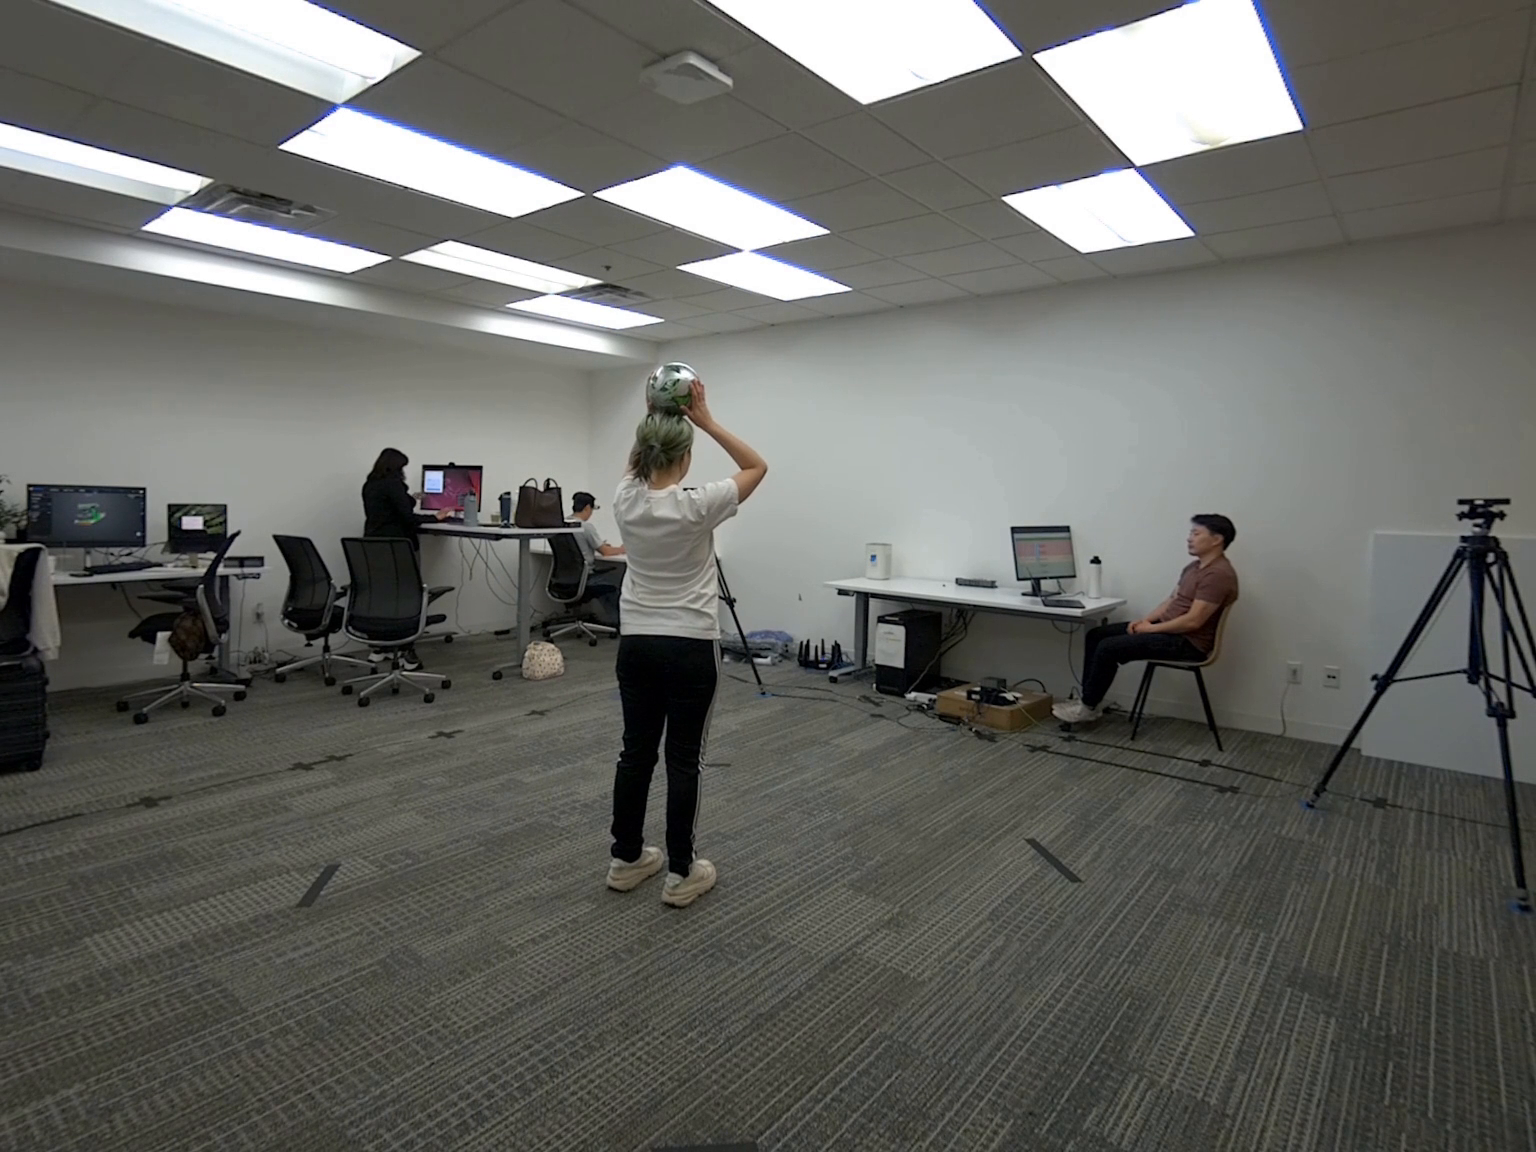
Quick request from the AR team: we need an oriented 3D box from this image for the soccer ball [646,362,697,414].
[{"bbox_3d":[-0.337,-0.642,2.934,0.187,0.187,0.188,1,4,-2],"label":"soccer ball"}]
